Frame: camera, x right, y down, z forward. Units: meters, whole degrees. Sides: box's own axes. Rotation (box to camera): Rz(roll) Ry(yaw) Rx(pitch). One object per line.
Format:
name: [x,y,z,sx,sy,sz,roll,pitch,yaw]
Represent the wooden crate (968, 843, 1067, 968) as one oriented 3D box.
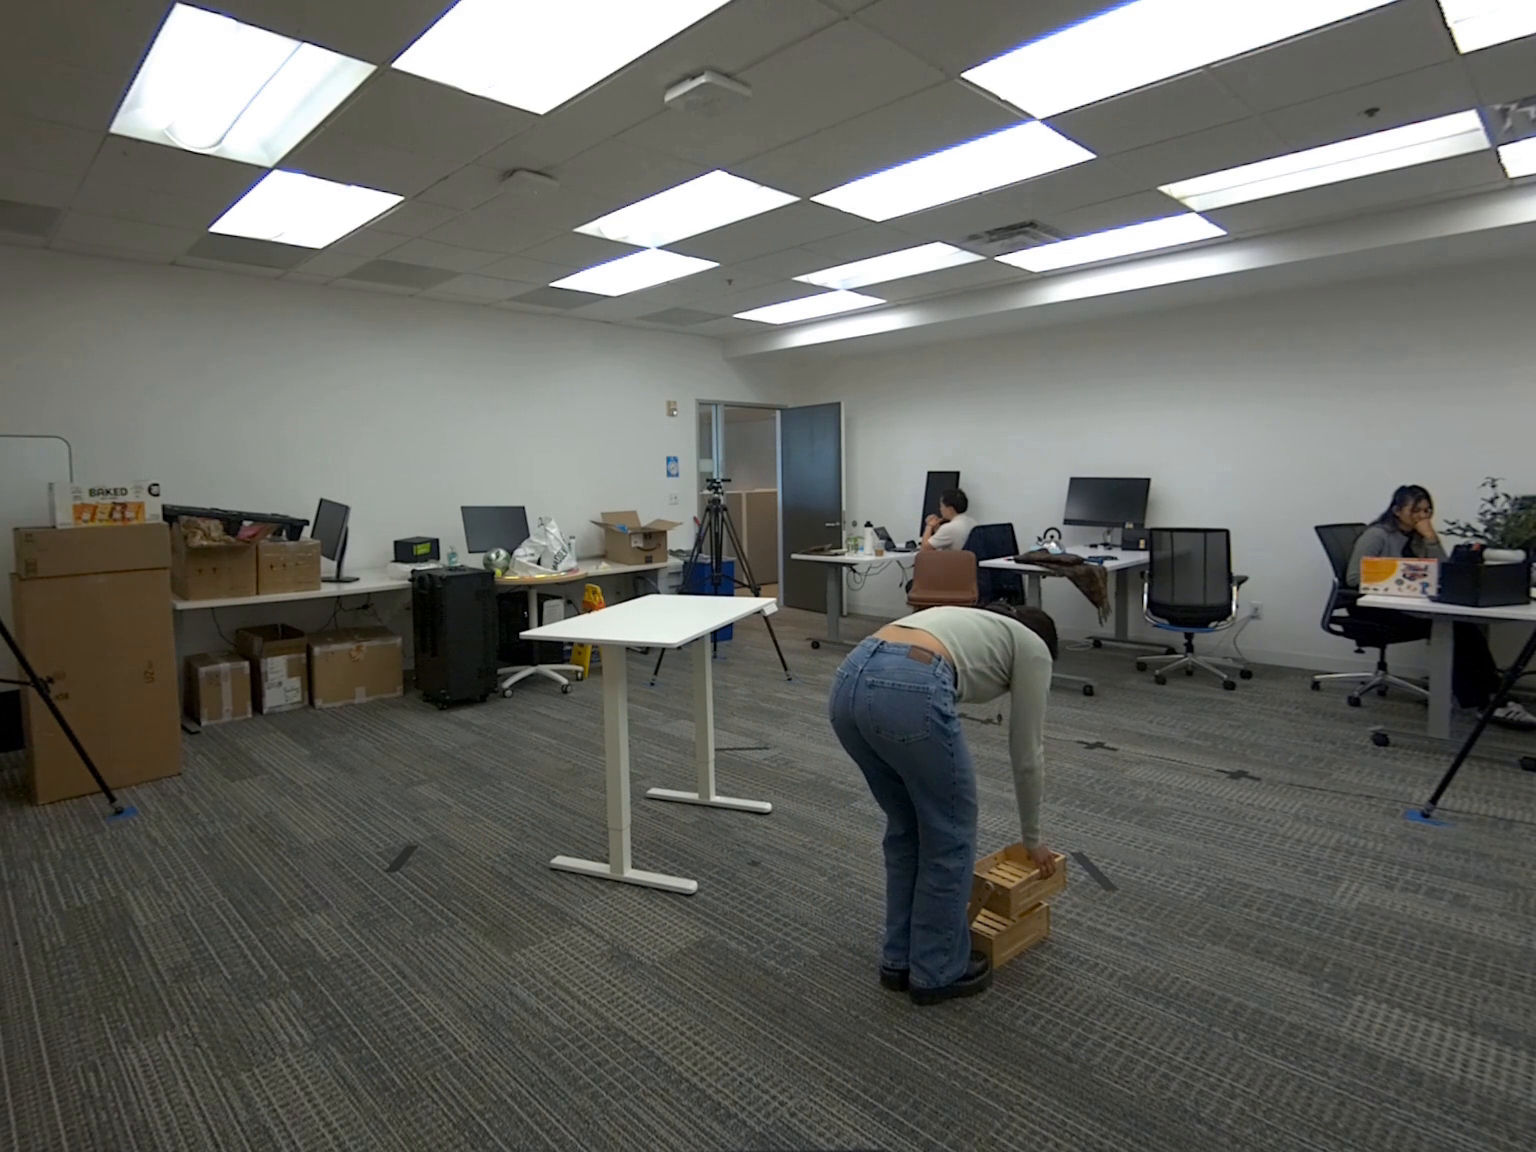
wooden crate: [0.678,0.955,2.570,0.316,0.272,0.311,-6,8,-41]
